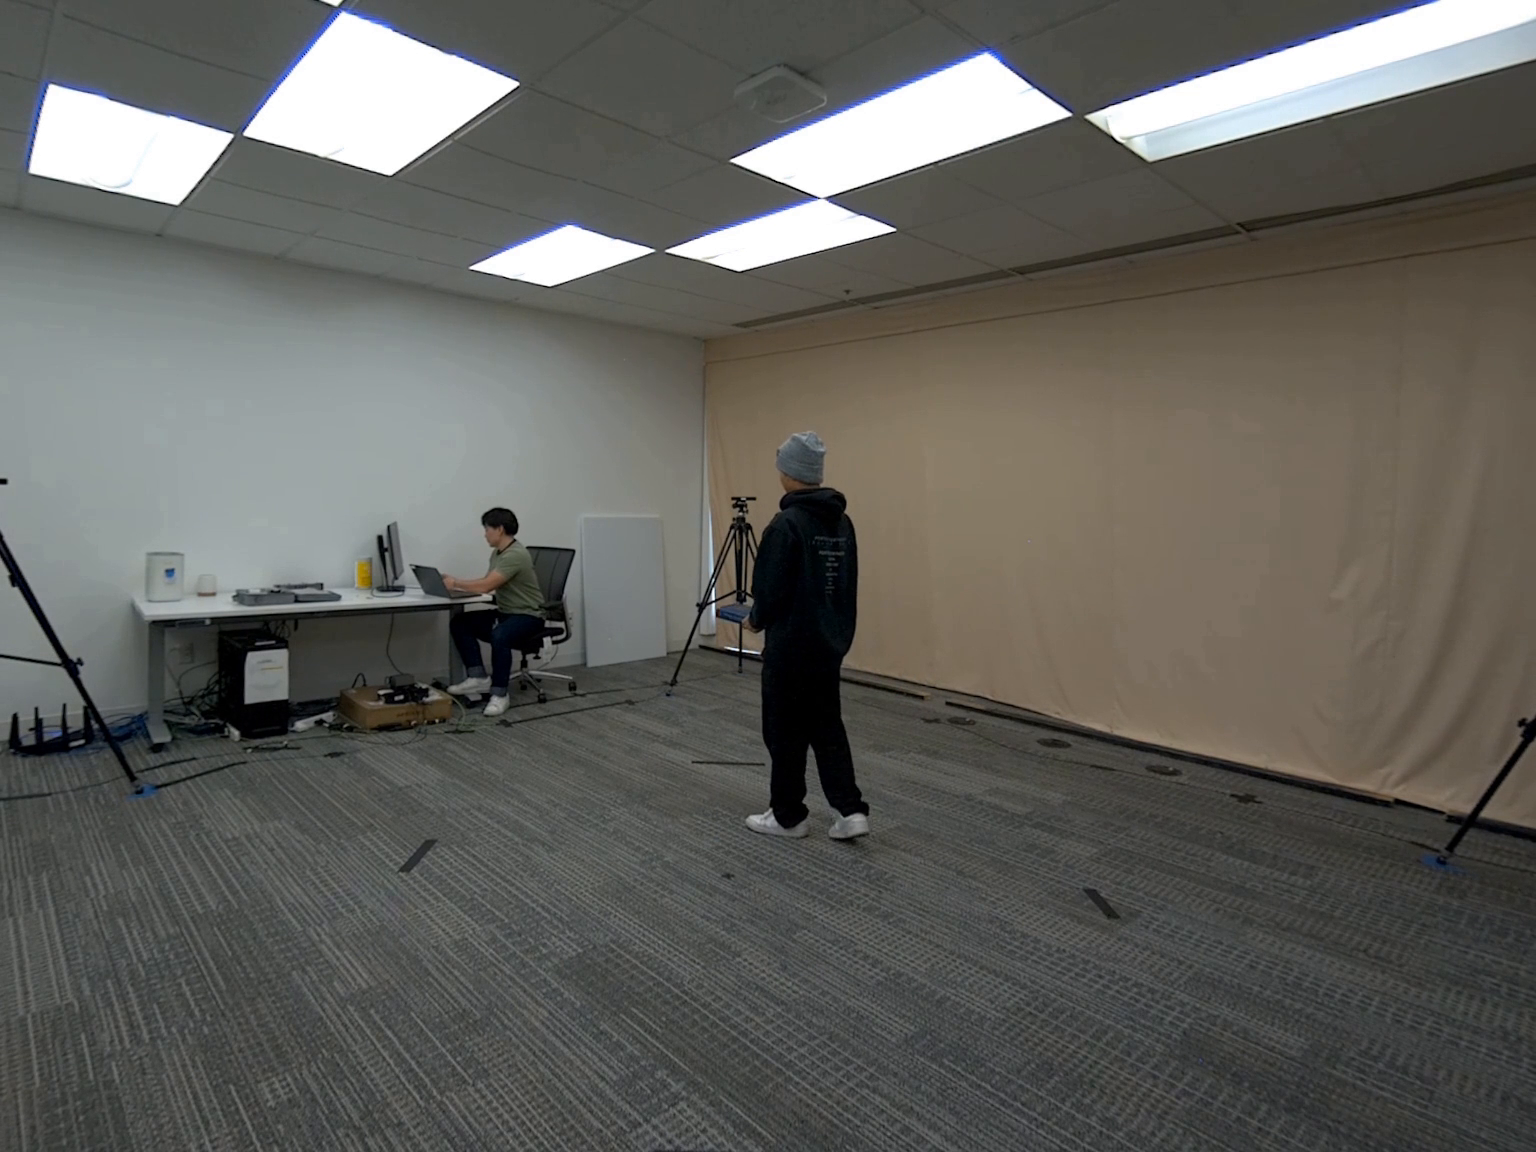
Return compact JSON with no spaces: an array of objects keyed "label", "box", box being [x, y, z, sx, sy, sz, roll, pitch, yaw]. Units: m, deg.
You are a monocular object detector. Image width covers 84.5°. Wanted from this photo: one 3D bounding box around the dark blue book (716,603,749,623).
[{"label":"dark blue book","box":[-0.093,0.172,3.689,0.251,0.045,0.161,12,14,29]}]
